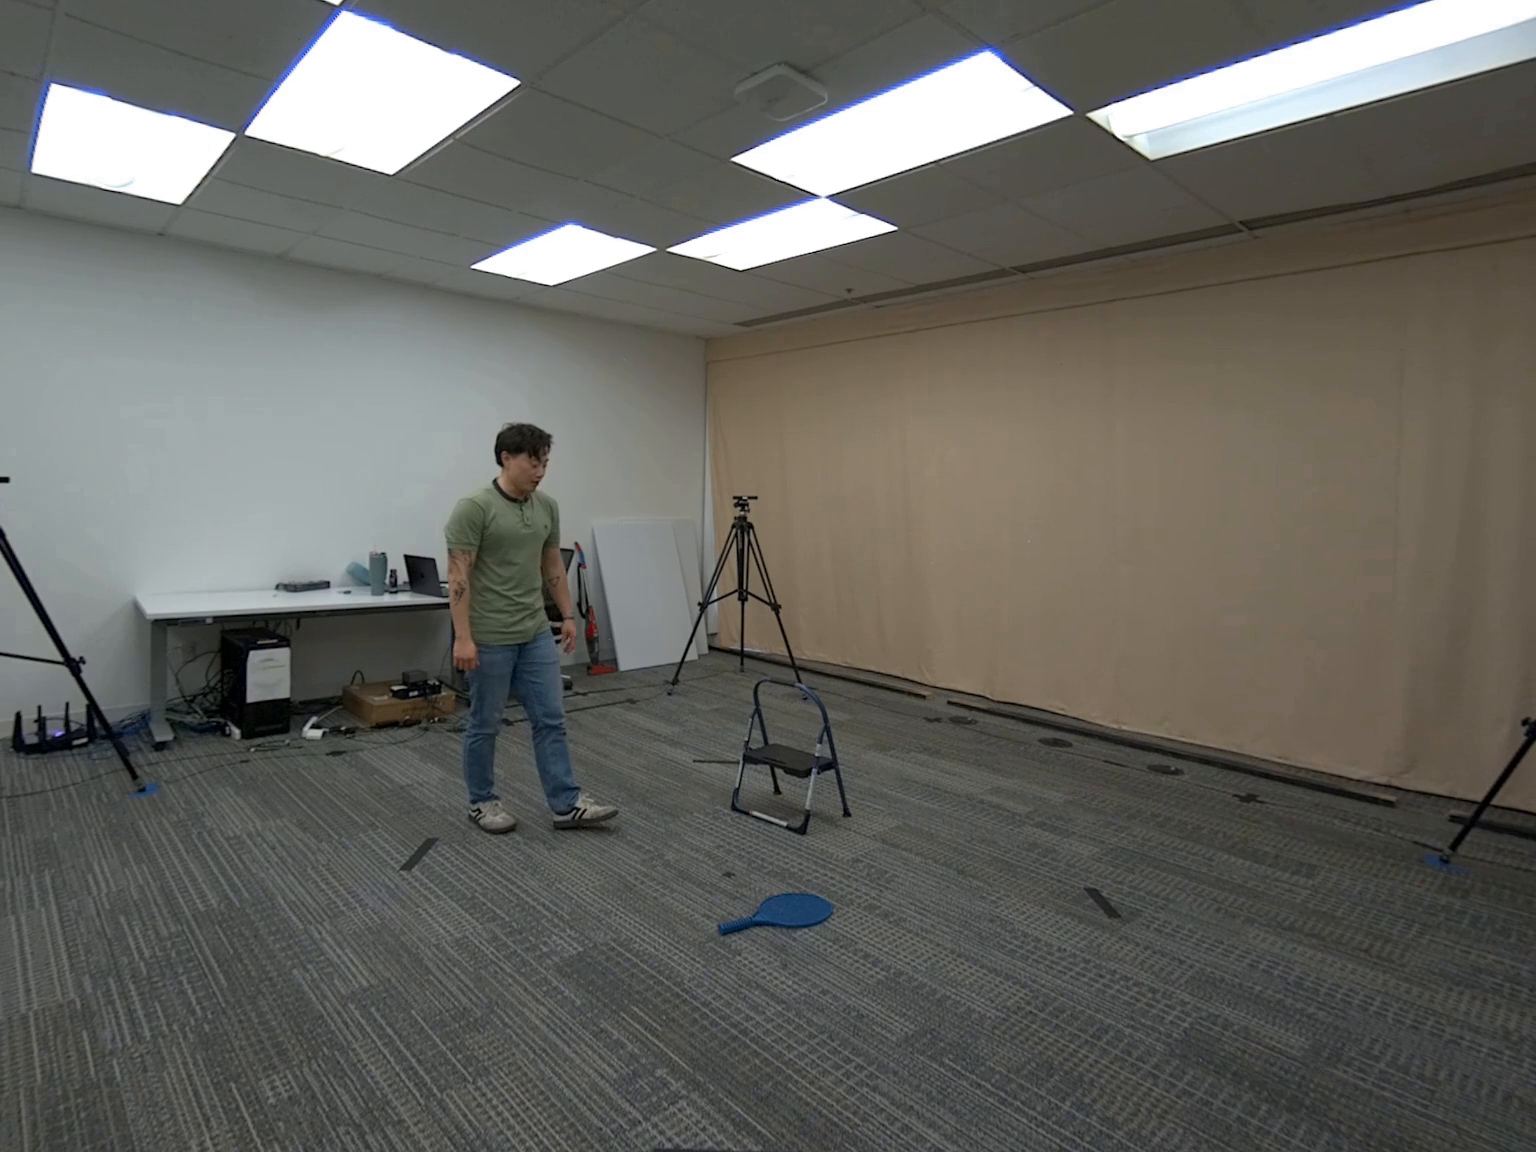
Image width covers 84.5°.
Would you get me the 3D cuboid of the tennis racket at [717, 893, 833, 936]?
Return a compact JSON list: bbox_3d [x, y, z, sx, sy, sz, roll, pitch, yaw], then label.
[{"bbox_3d":[0.022,1.125,2.786,0.423,0.031,0.219,-1,6,-34],"label":"tennis racket"}]
